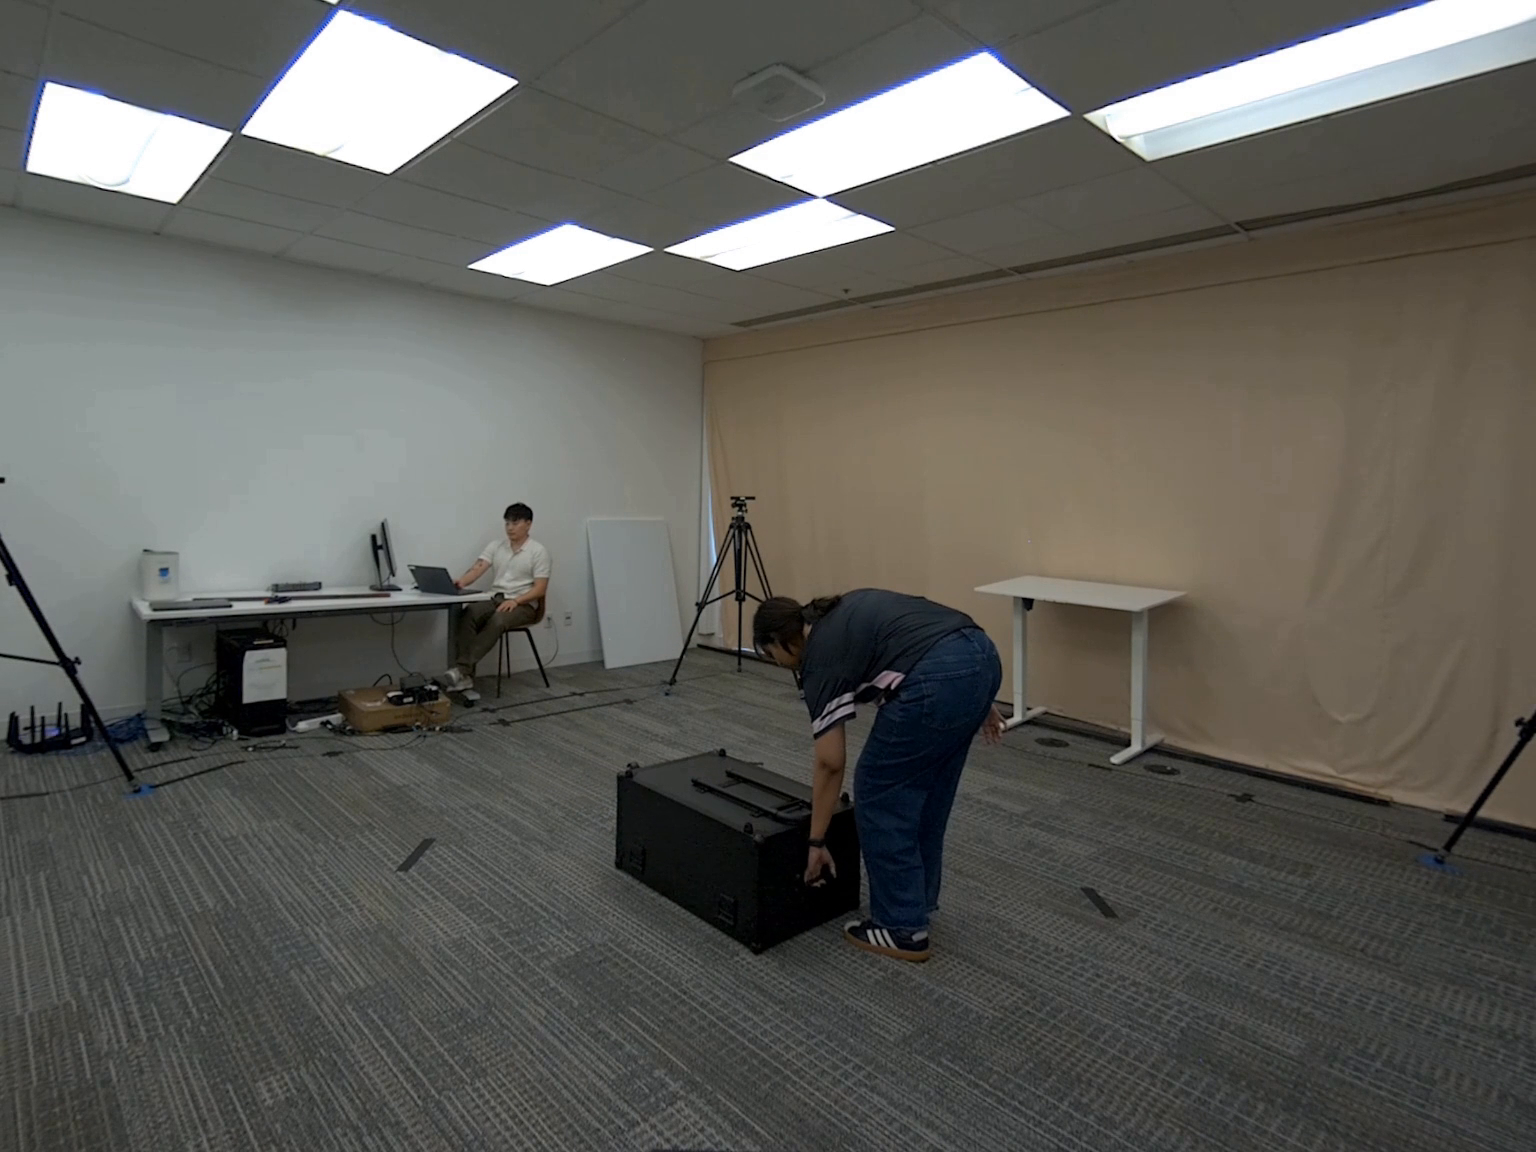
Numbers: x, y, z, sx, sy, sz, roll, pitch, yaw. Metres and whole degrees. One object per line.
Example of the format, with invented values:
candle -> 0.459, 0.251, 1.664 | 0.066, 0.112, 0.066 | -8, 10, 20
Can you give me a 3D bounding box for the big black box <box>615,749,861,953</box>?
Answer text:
big black box -> -0.163, 0.927, 3.023 | 0.512, 0.384, 0.891 | -4, 7, -42
